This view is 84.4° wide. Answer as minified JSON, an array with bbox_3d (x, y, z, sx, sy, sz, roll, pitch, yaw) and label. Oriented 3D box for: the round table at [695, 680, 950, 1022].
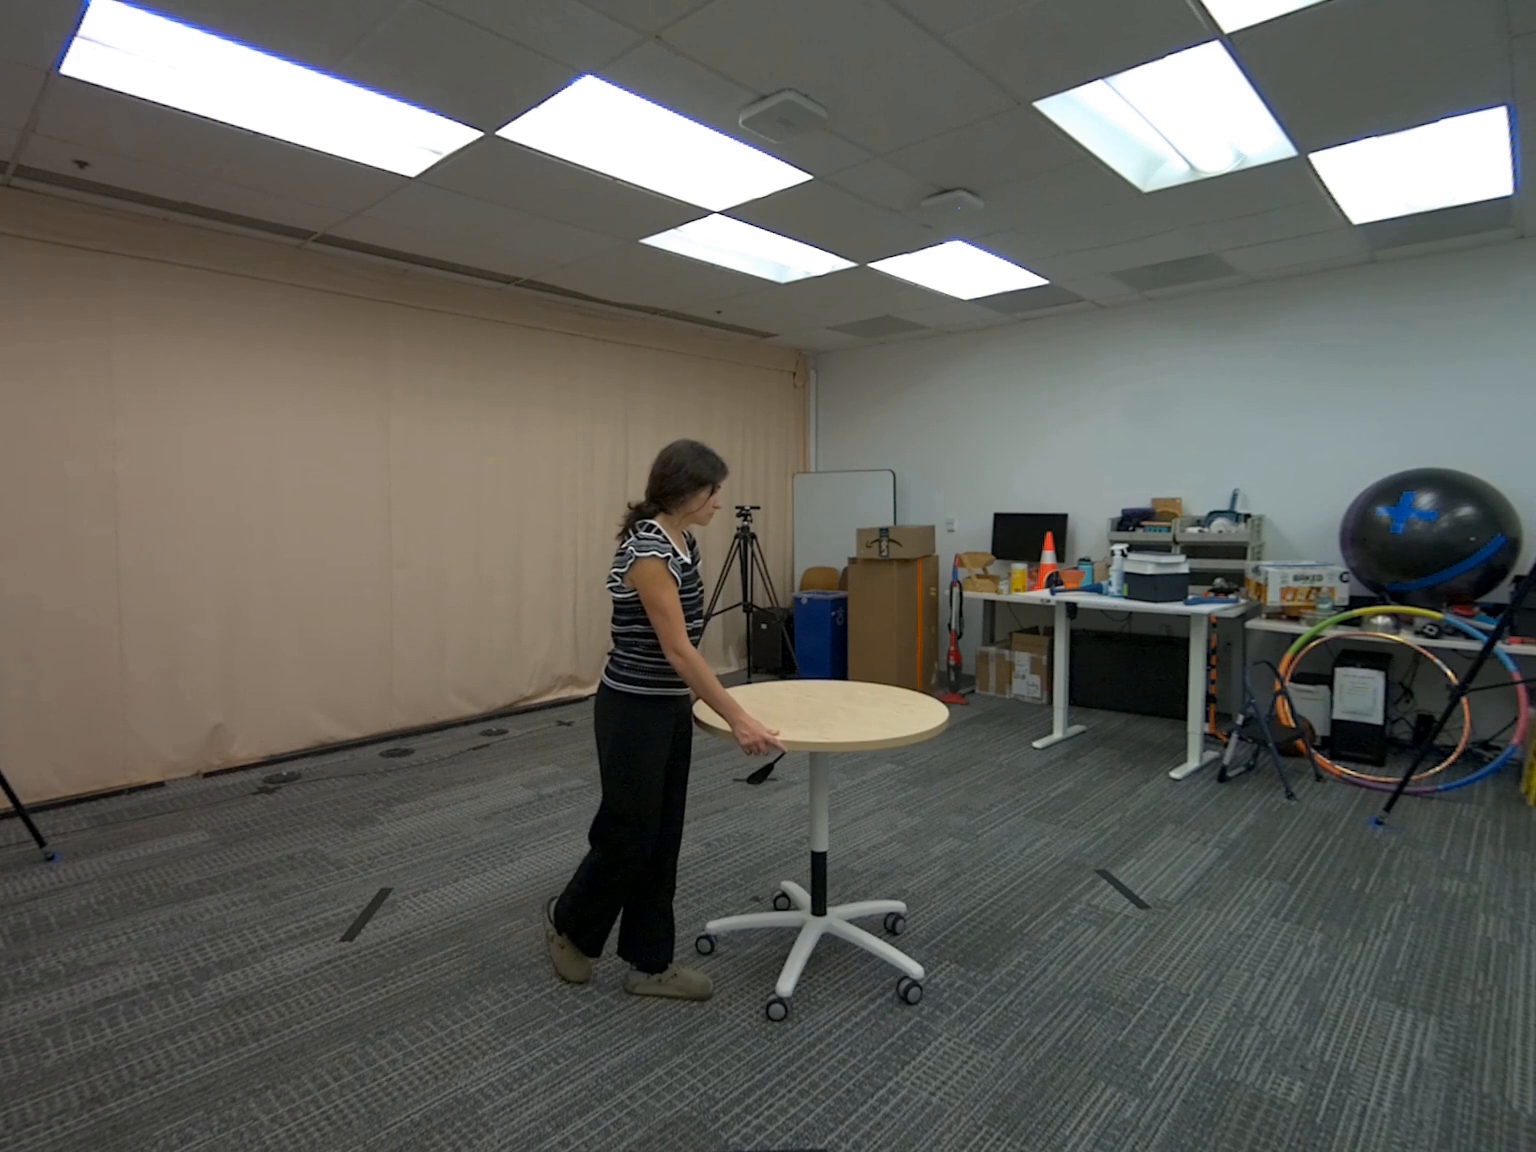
[{"bbox_3d":[0.157,0.791,2.578,0.763,0.792,0.767,0,4,-2],"label":"round table"}]
